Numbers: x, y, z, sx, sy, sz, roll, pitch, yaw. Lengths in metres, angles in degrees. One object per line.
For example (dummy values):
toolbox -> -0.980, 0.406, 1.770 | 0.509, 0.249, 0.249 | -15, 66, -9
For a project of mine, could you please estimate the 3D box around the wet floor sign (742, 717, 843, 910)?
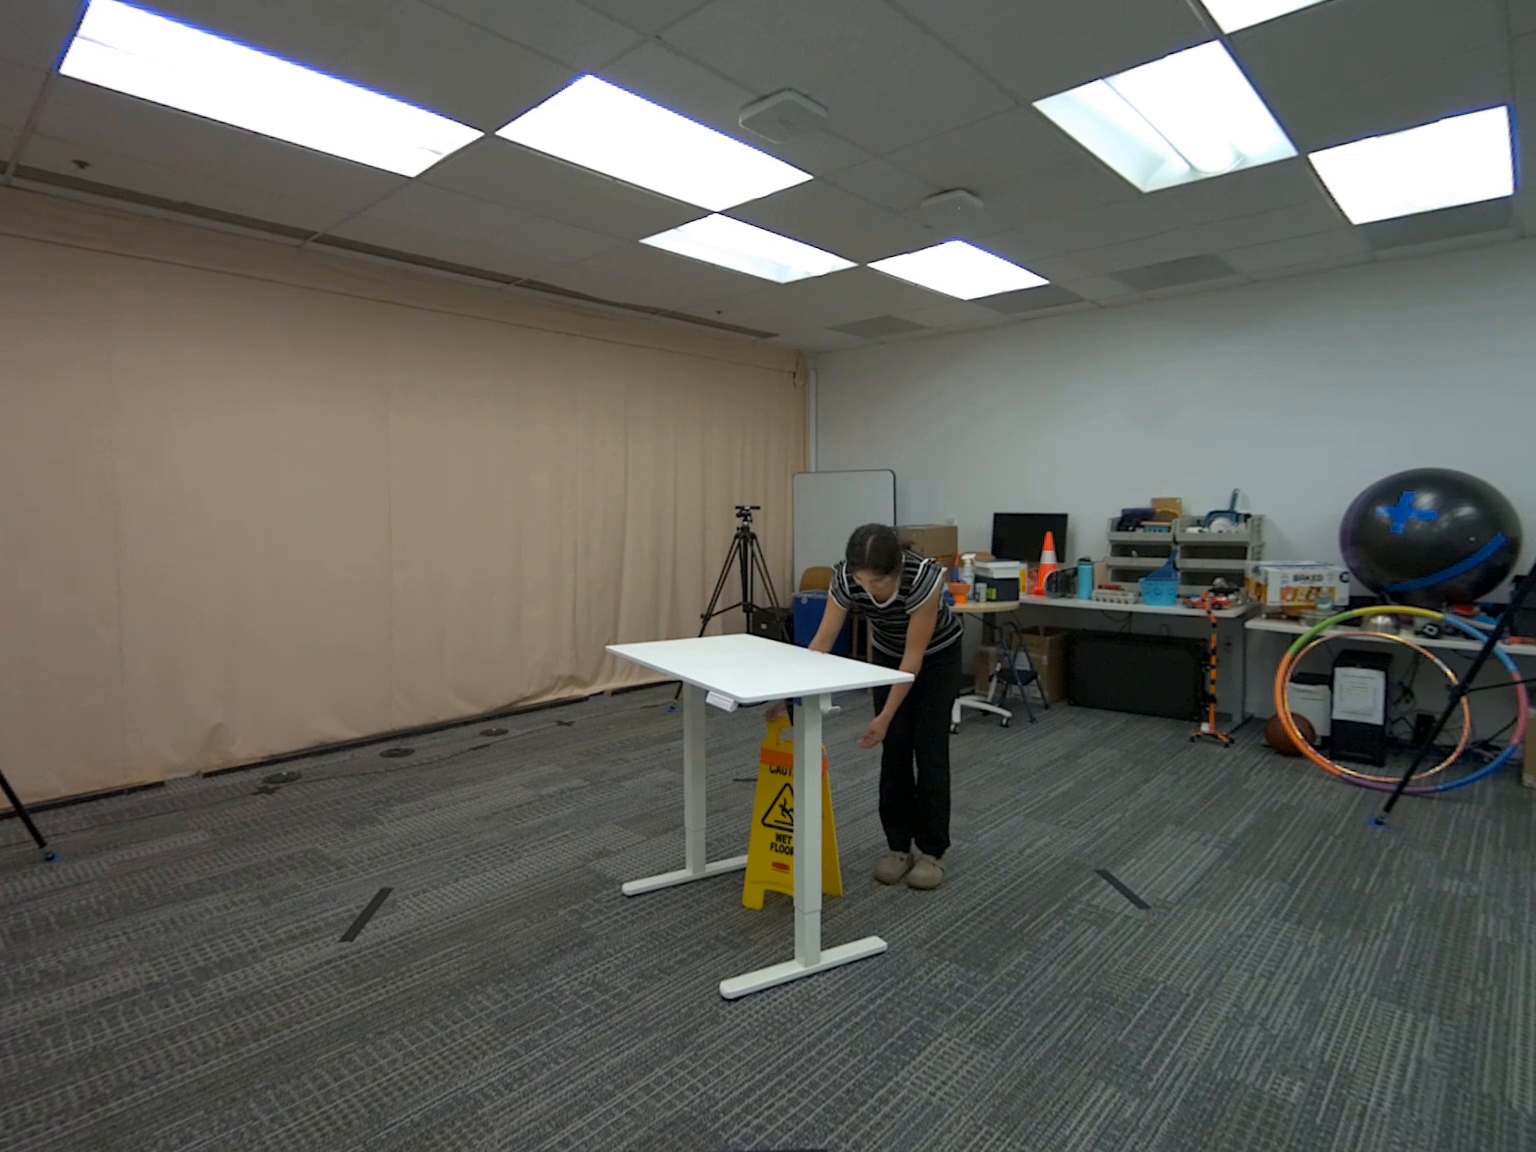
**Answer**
wet floor sign -> 0.093, 0.822, 2.948 | 0.290, 0.644, 0.282 | 2, 4, 30
